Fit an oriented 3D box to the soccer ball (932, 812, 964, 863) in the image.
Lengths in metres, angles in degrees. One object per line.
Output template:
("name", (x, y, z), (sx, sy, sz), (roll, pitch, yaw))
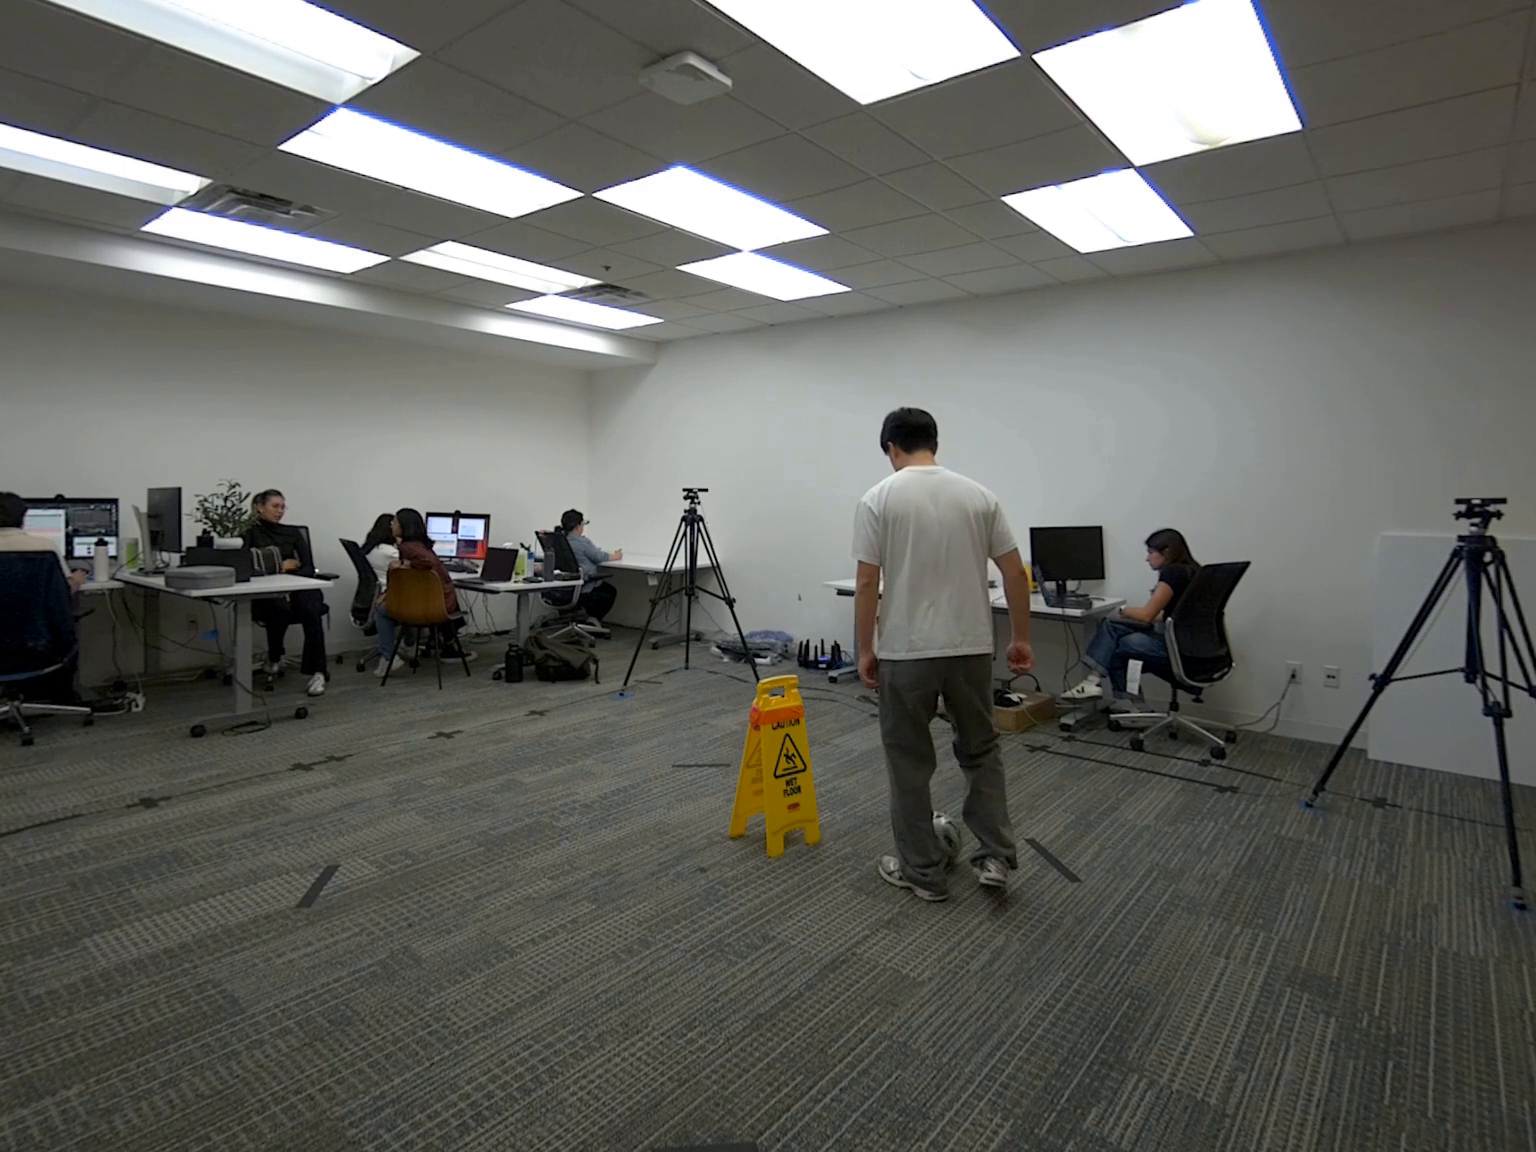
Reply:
("soccer ball", (0.644, 0.977, 3.213), (0.187, 0.187, 0.188), (1, 4, -2))
